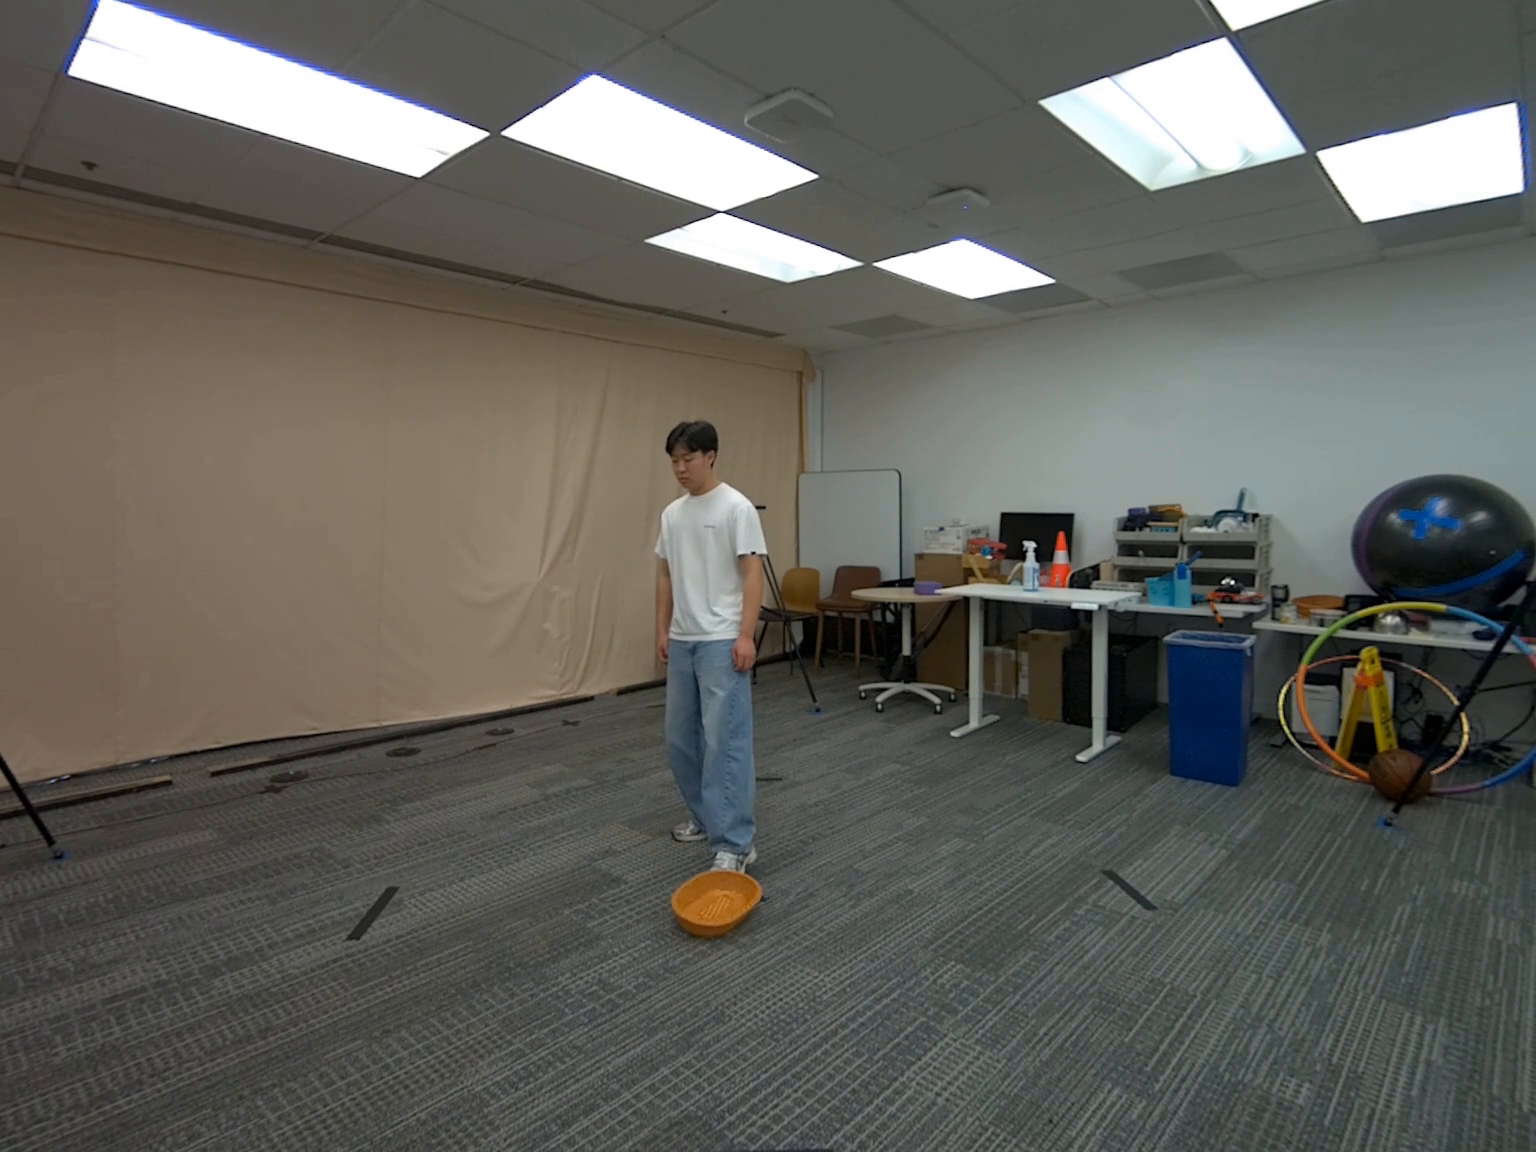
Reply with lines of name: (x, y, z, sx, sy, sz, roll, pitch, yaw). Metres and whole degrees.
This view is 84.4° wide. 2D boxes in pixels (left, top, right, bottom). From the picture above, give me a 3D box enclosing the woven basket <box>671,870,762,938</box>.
woven basket: (-0.174, 1.101, 2.849, 0.261, 0.073, 0.341, 11, 13, 33)
